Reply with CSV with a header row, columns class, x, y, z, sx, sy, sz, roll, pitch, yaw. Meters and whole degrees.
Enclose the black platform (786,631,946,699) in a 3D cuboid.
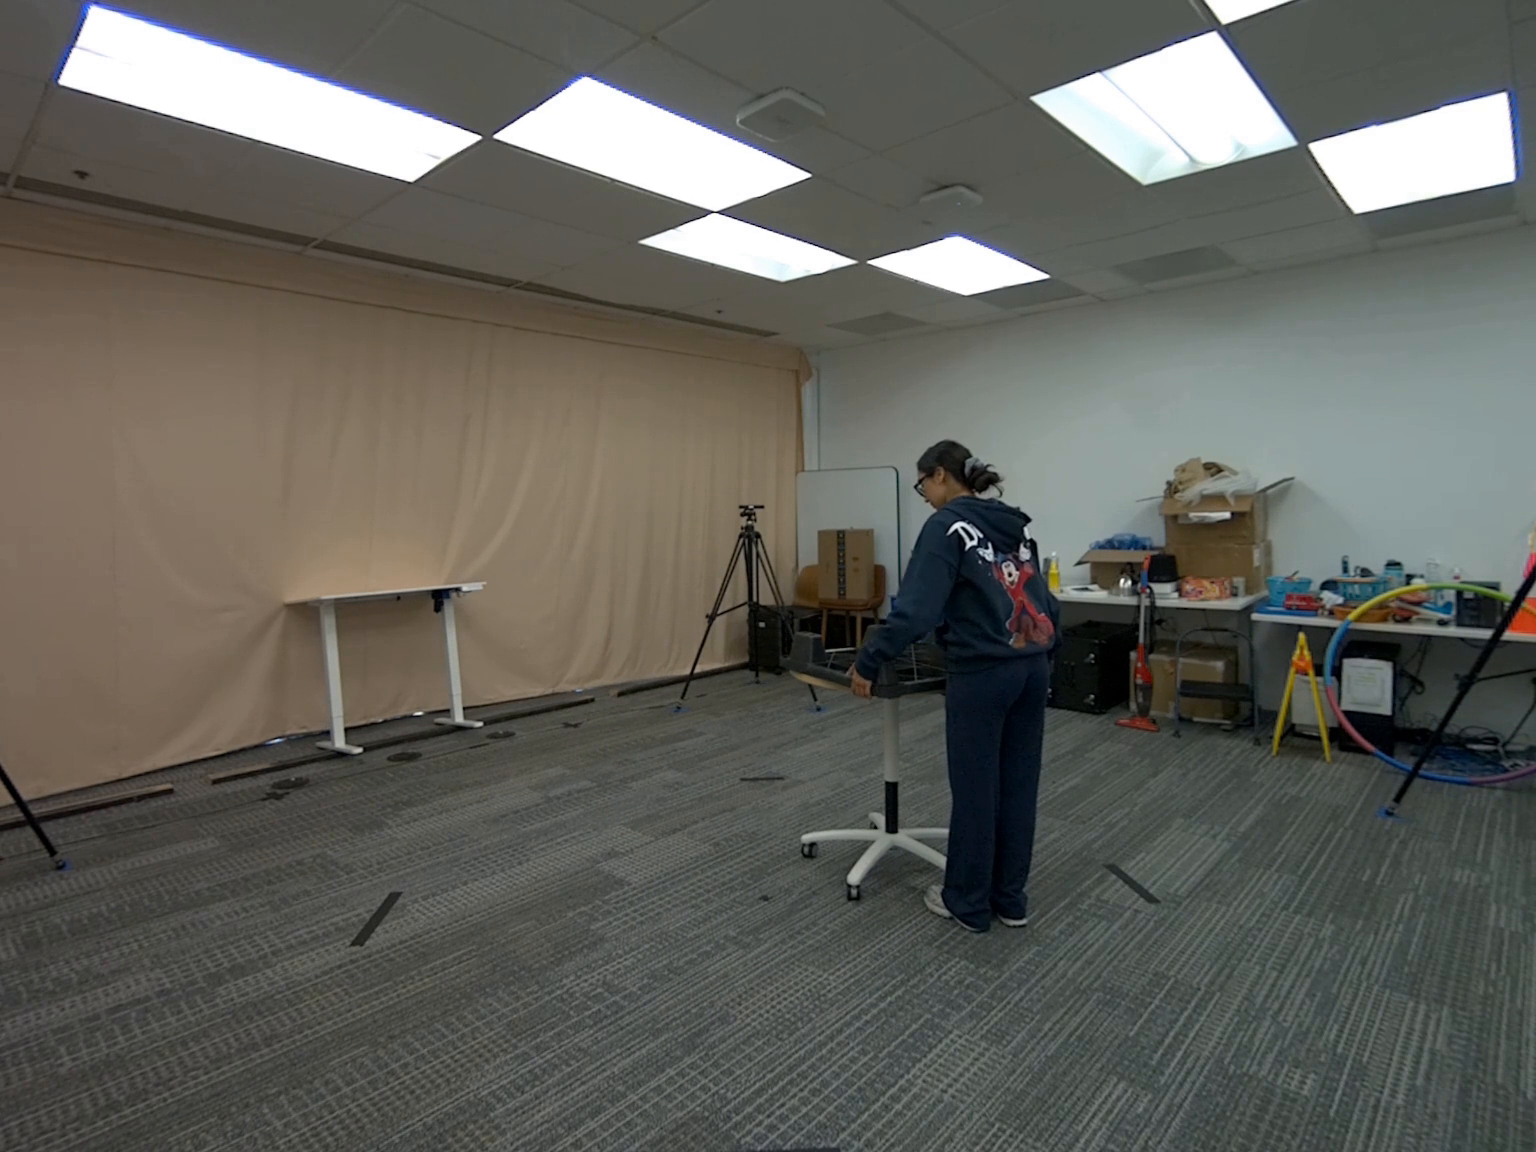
class,x,y,z,sx,sy,sz,roll,pitch,yaw
black platform,0.529,0.282,3.086,0.784,0.143,0.623,-3,6,-30
